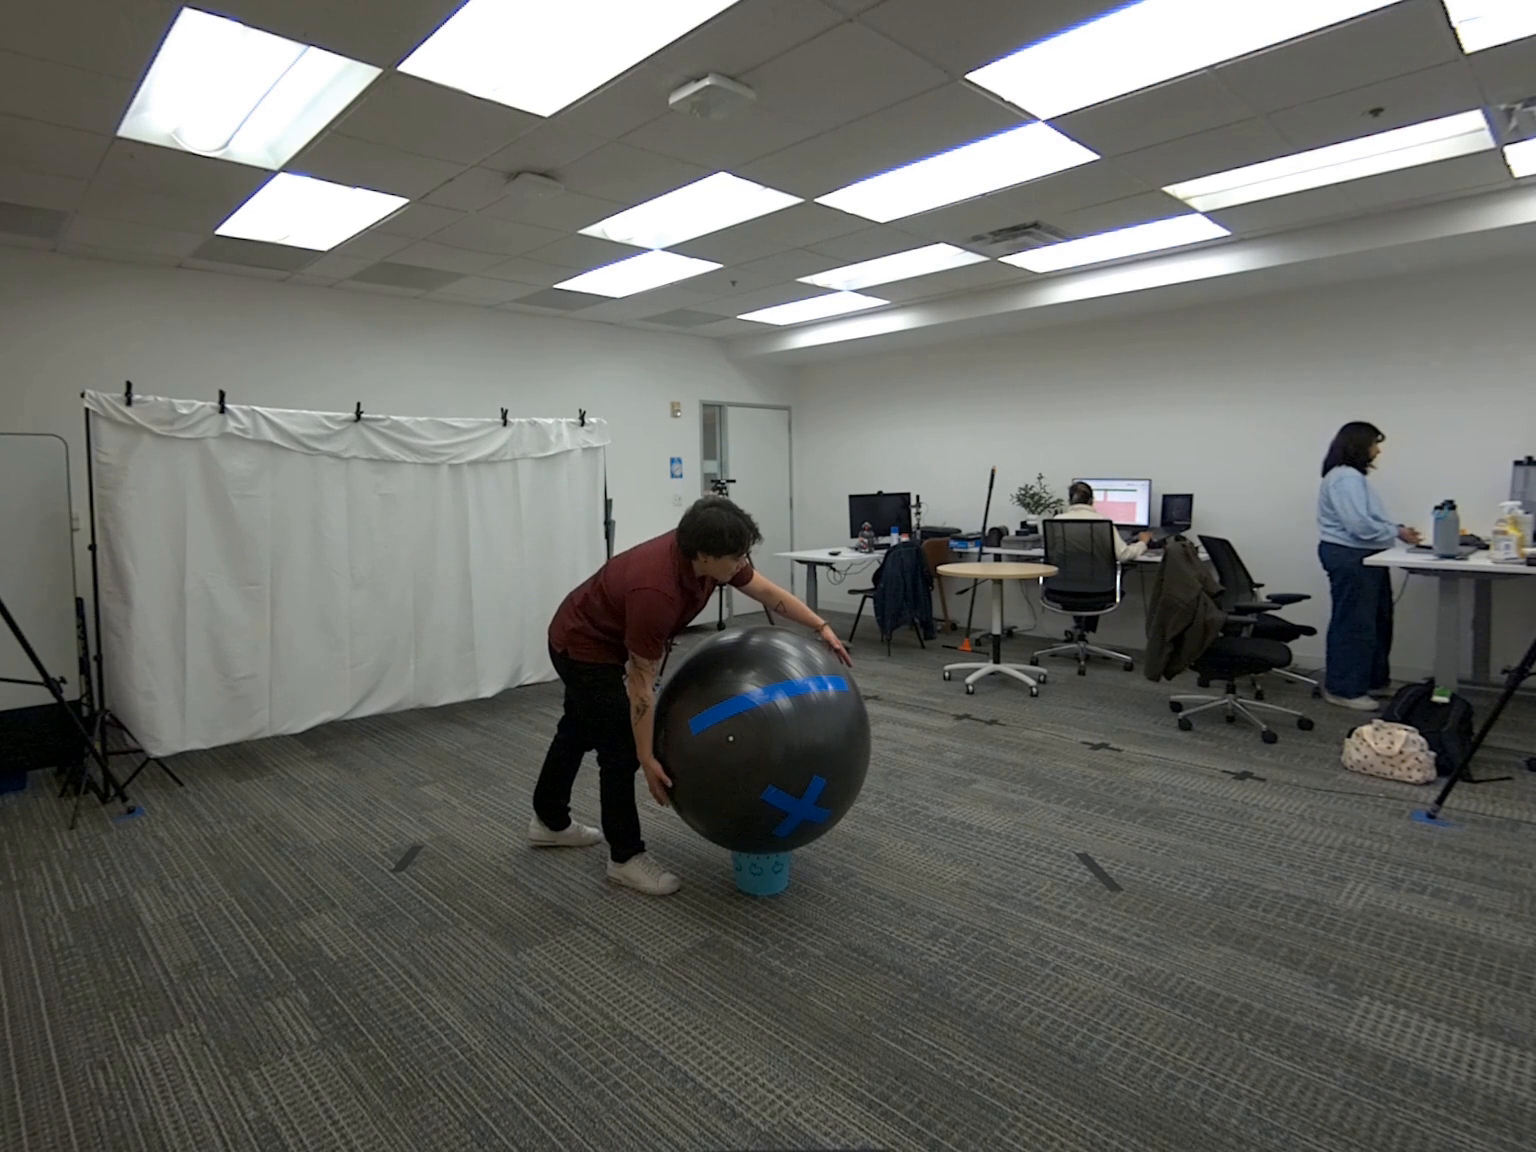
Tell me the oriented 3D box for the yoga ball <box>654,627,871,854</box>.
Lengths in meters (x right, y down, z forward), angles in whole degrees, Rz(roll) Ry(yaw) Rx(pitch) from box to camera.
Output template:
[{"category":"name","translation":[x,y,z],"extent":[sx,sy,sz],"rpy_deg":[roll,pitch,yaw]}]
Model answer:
[{"category":"yoga ball","translation":[-0.025,0.553,2.941],"extent":[0.757,0.755,0.762],"rpy_deg":[-1,5,-2]}]
